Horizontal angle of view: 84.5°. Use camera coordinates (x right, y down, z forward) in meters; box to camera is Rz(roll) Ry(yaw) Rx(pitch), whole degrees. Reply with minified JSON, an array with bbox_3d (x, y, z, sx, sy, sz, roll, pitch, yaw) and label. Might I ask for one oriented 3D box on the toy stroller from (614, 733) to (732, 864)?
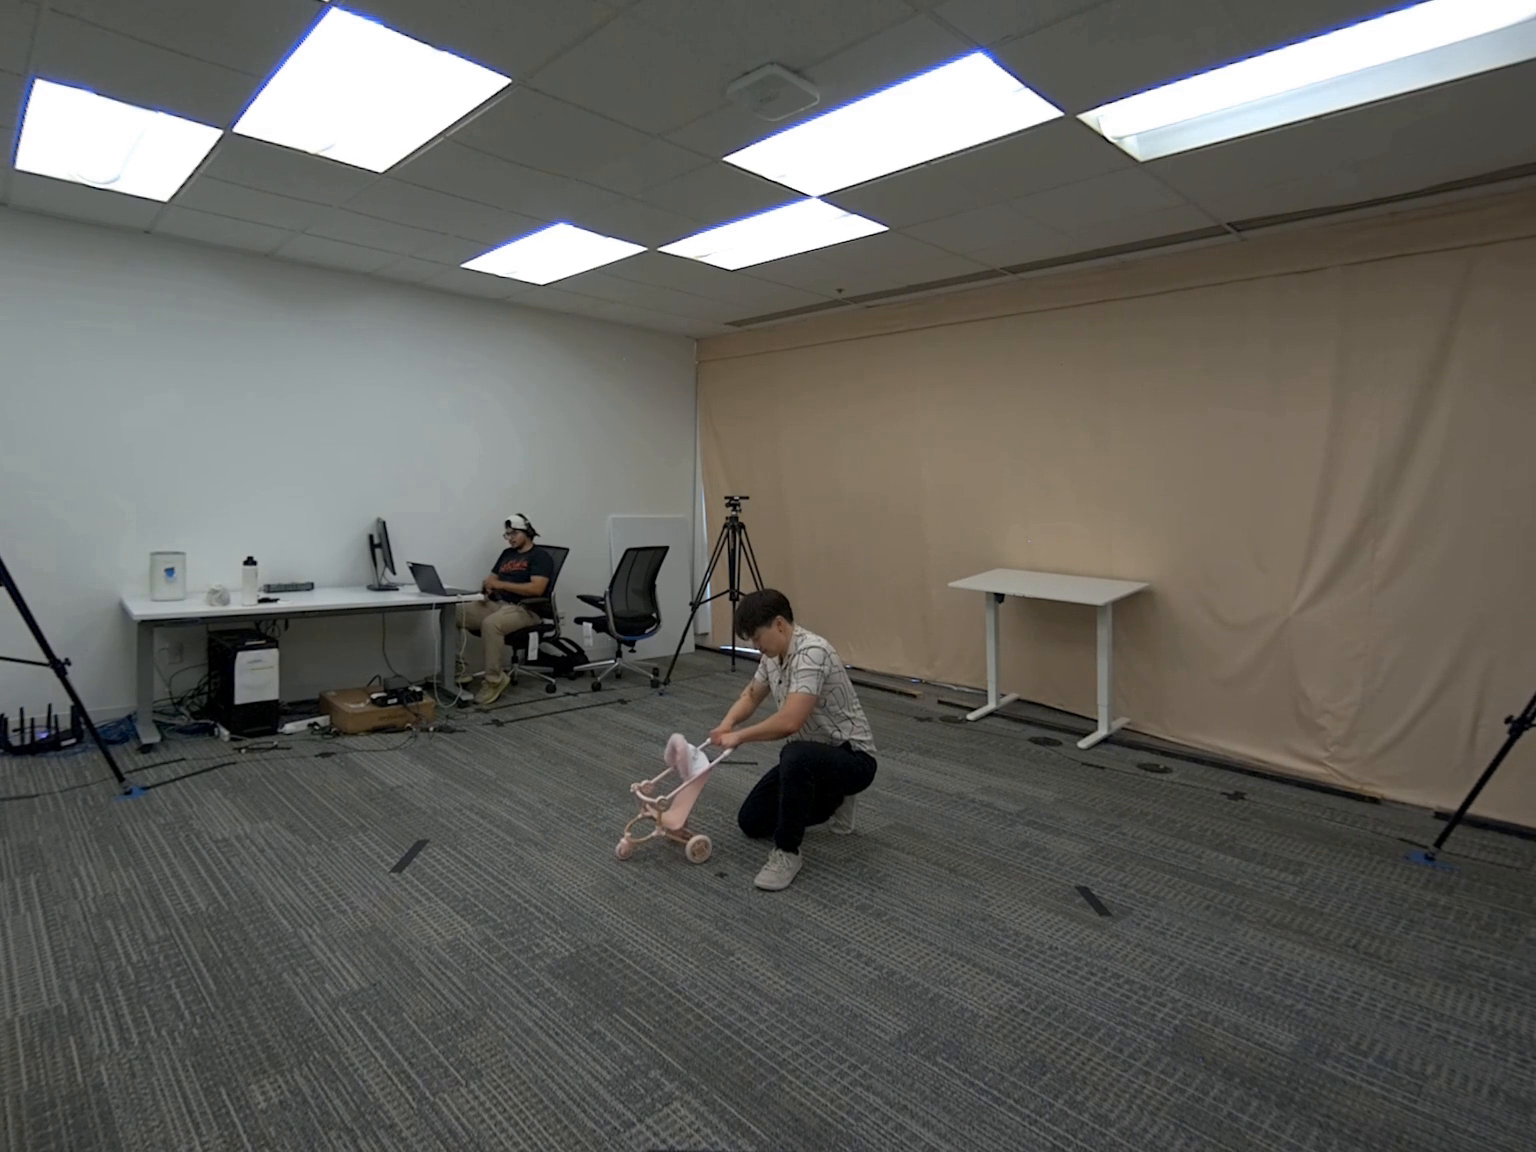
[{"bbox_3d":[-0.375,0.852,3.278,0.335,0.535,0.286,16,-2,-20],"label":"toy stroller"}]
